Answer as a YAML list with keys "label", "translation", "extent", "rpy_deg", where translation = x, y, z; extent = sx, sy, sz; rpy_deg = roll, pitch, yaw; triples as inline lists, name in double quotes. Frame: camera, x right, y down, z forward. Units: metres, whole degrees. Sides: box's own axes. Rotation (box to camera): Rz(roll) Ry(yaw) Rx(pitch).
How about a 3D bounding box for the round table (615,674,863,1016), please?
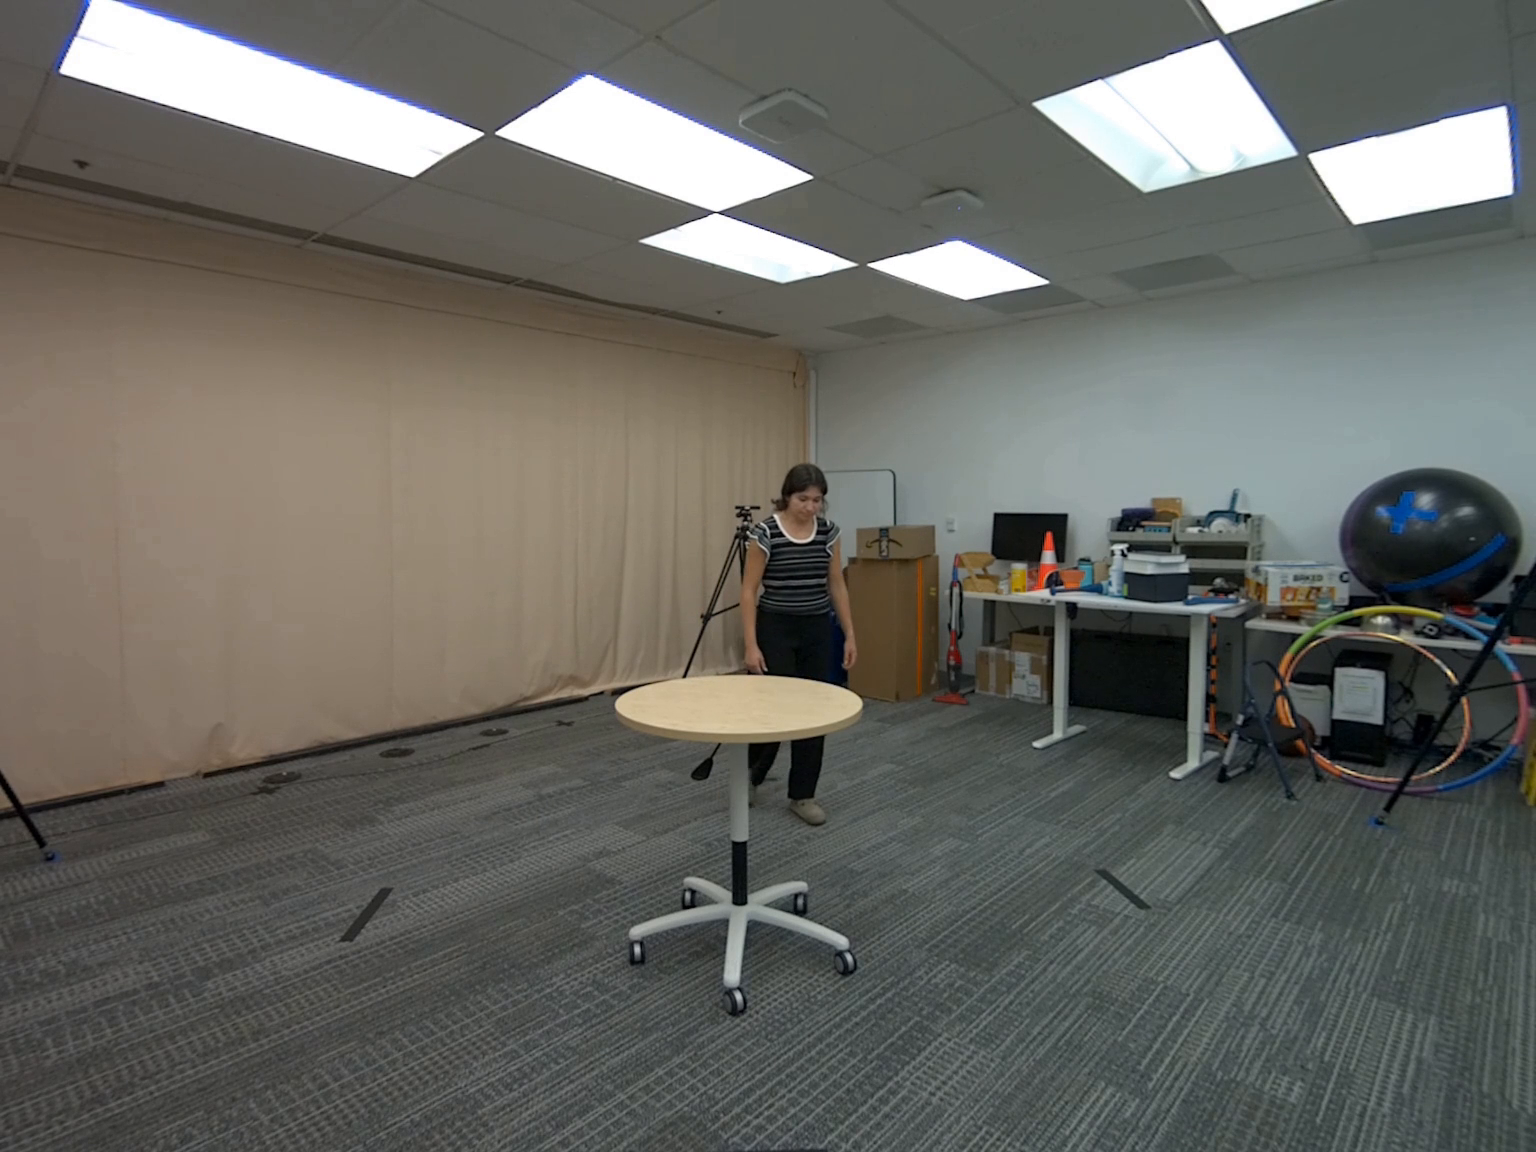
- label: "round table"
  translation: [-0.073, 0.776, 2.647]
  extent: [0.784, 0.785, 0.788]
  rpy_deg: [-1, 4, -2]
